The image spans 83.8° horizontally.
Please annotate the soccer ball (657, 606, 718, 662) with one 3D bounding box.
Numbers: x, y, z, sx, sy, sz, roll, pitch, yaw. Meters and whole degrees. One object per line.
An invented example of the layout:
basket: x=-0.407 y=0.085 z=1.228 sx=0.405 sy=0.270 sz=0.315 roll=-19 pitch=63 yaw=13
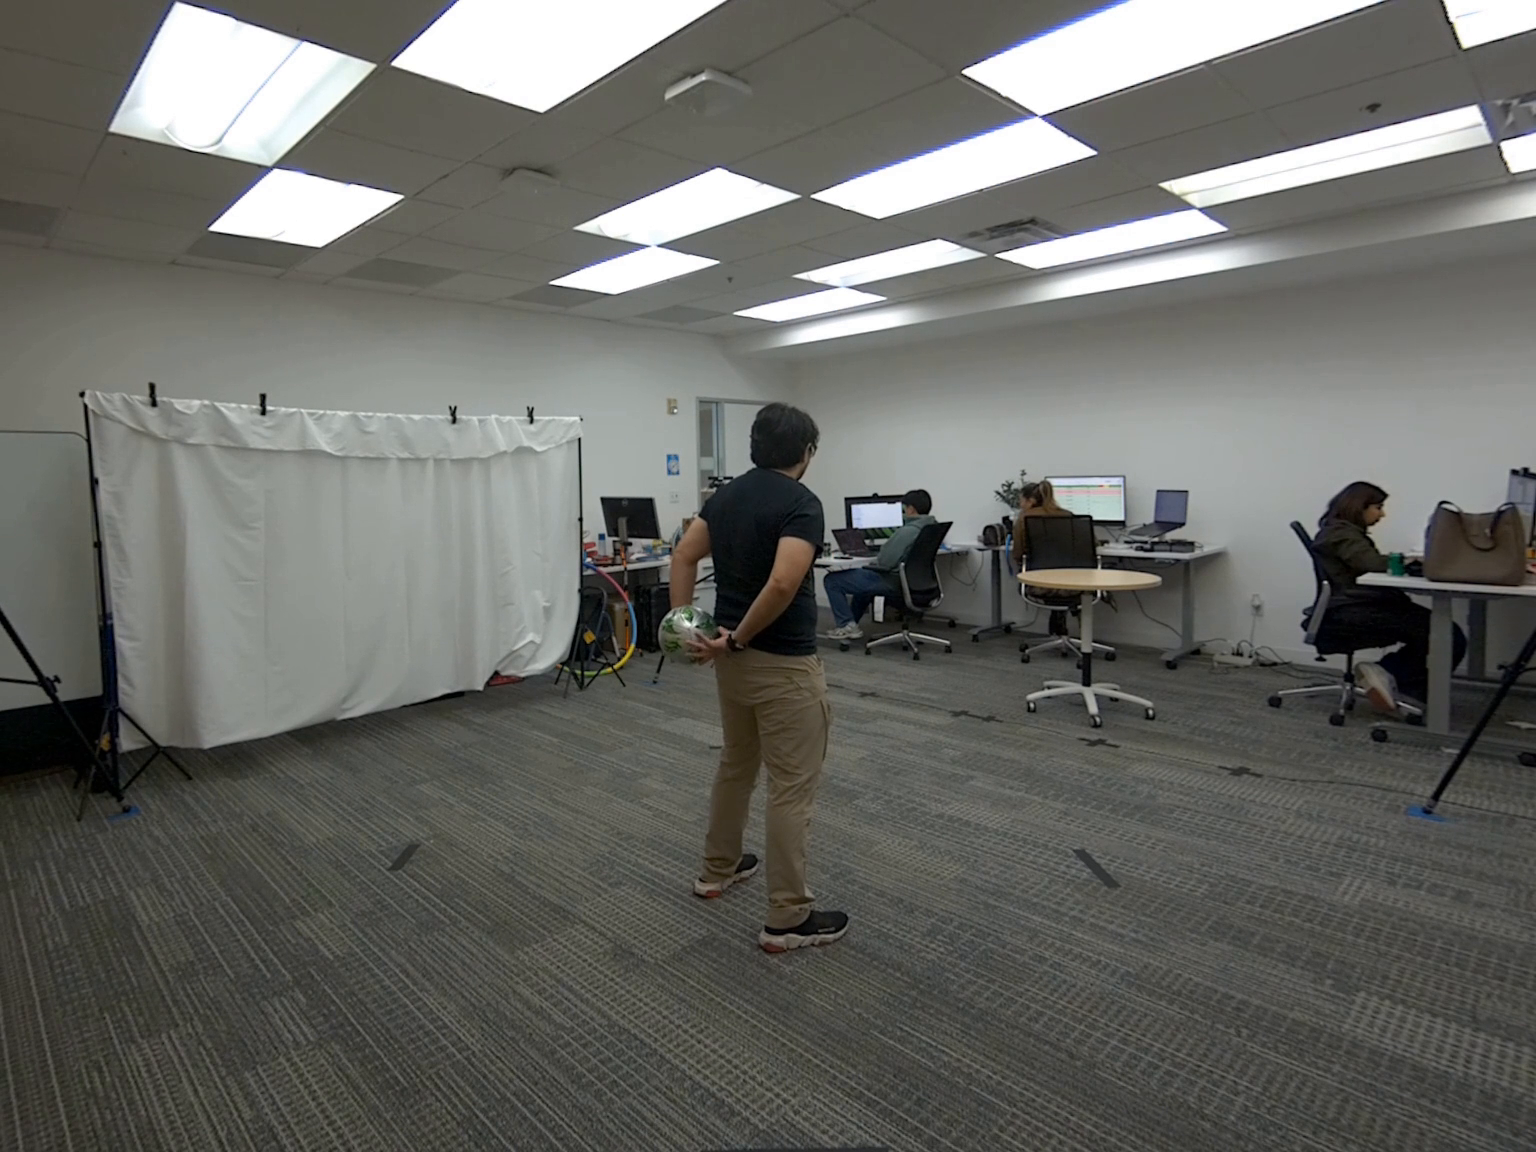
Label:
soccer ball: x=-0.245 y=0.183 z=2.662 sx=0.187 sy=0.187 sz=0.188 roll=-1 pitch=5 yaw=-2
